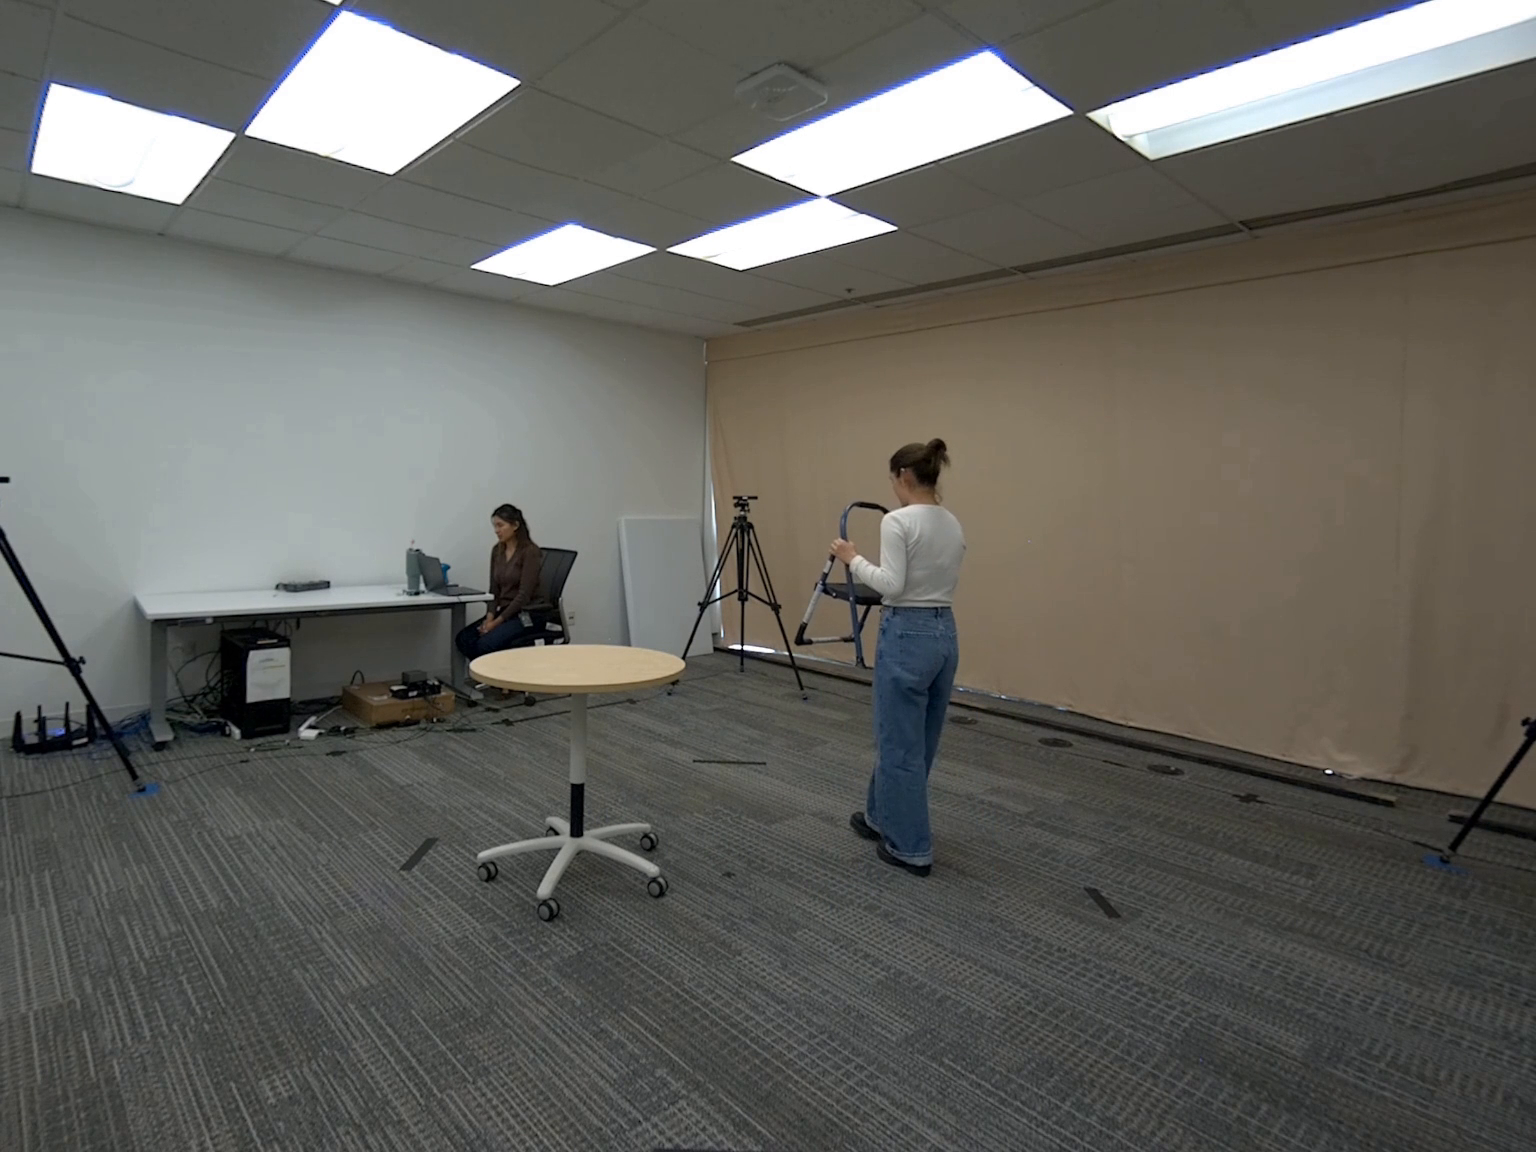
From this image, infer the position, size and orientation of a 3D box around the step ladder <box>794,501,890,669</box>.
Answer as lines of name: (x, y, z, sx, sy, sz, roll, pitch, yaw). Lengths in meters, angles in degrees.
step ladder: (0.405, 0.016, 3.381, 0.359, 0.604, 0.420, 15, 7, 40)
